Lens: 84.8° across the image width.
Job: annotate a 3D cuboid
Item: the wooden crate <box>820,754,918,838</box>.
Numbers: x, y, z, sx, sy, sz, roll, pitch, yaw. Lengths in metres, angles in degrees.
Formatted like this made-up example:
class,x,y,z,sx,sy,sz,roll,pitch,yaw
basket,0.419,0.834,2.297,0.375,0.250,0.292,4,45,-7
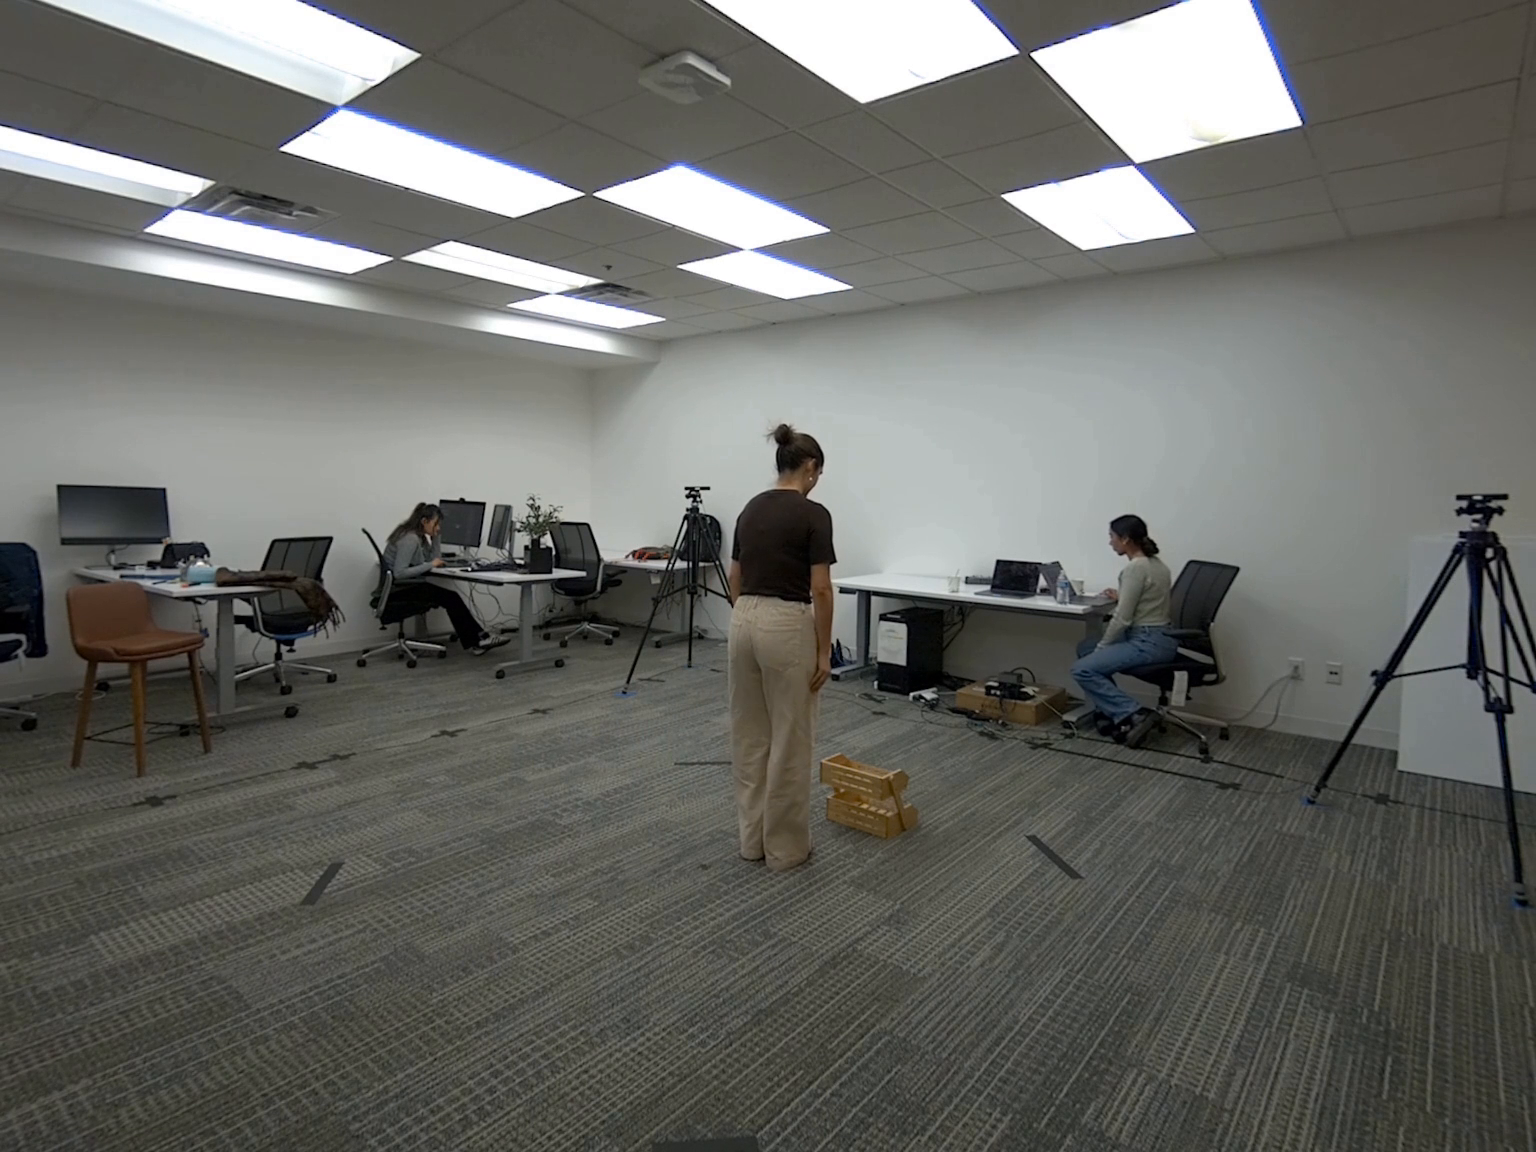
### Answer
class,x,y,z,sx,sy,sz,roll,pitch,yaw
wooden crate,0.421,0.899,3.570,0.335,0.272,0.293,5,7,40
